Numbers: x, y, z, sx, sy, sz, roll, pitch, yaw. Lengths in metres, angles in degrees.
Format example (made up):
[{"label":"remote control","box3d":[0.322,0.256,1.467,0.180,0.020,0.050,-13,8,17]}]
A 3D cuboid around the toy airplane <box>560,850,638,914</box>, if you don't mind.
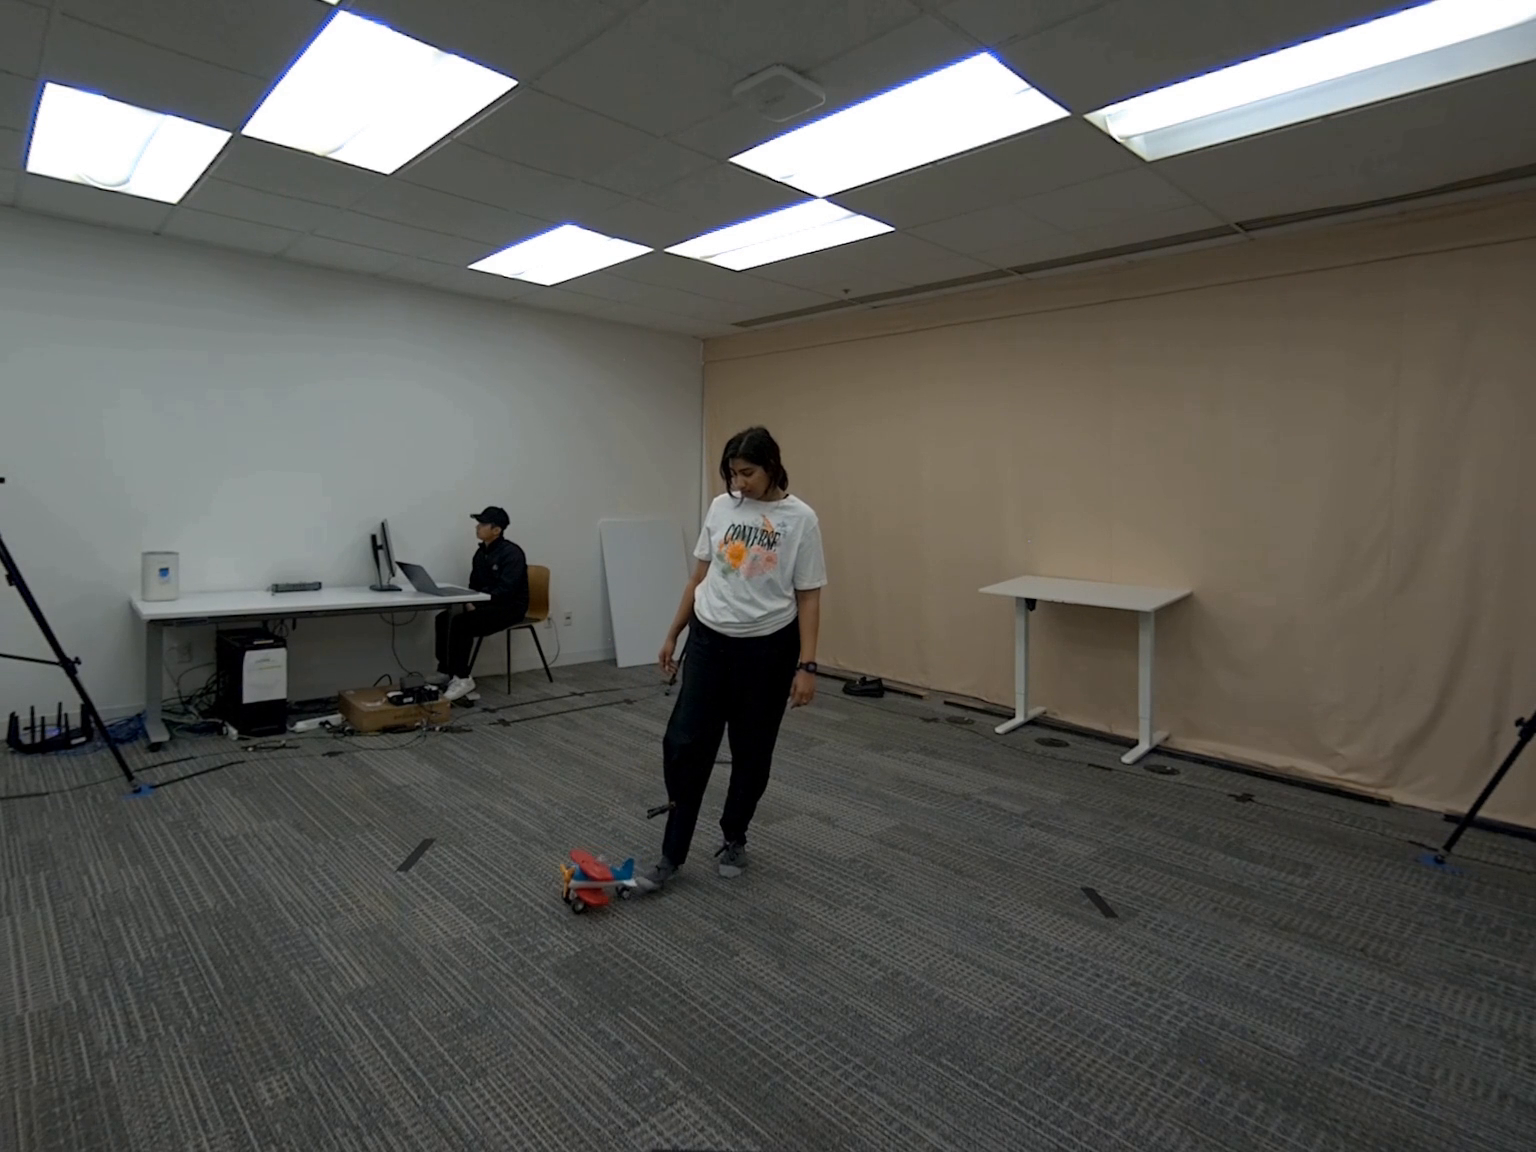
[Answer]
[{"label":"toy airplane","box3d":[-0.600,1.040,2.885,0.256,0.156,0.254,4,7,29]}]
